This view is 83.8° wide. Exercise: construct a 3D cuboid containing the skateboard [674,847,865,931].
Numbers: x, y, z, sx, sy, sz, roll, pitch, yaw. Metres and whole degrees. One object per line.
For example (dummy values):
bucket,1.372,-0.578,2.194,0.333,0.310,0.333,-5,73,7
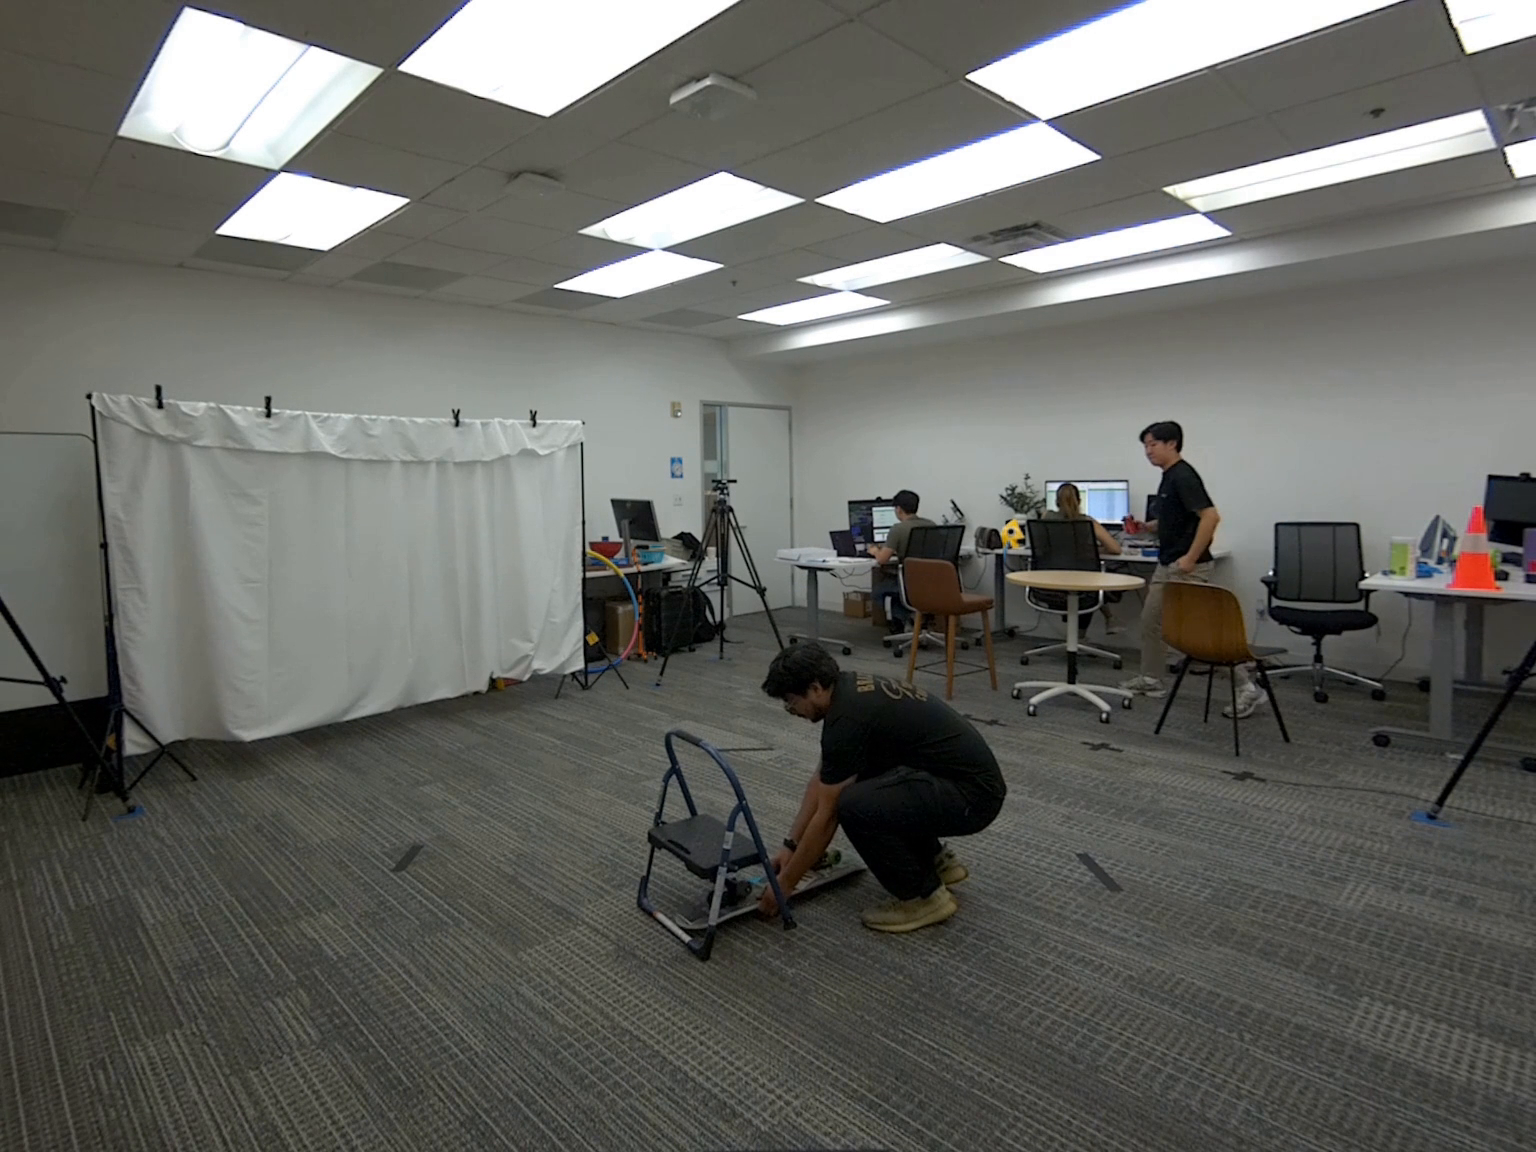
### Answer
skateboard,0.040,1.009,2.870,0.765,0.110,0.198,-3,-1,-36
